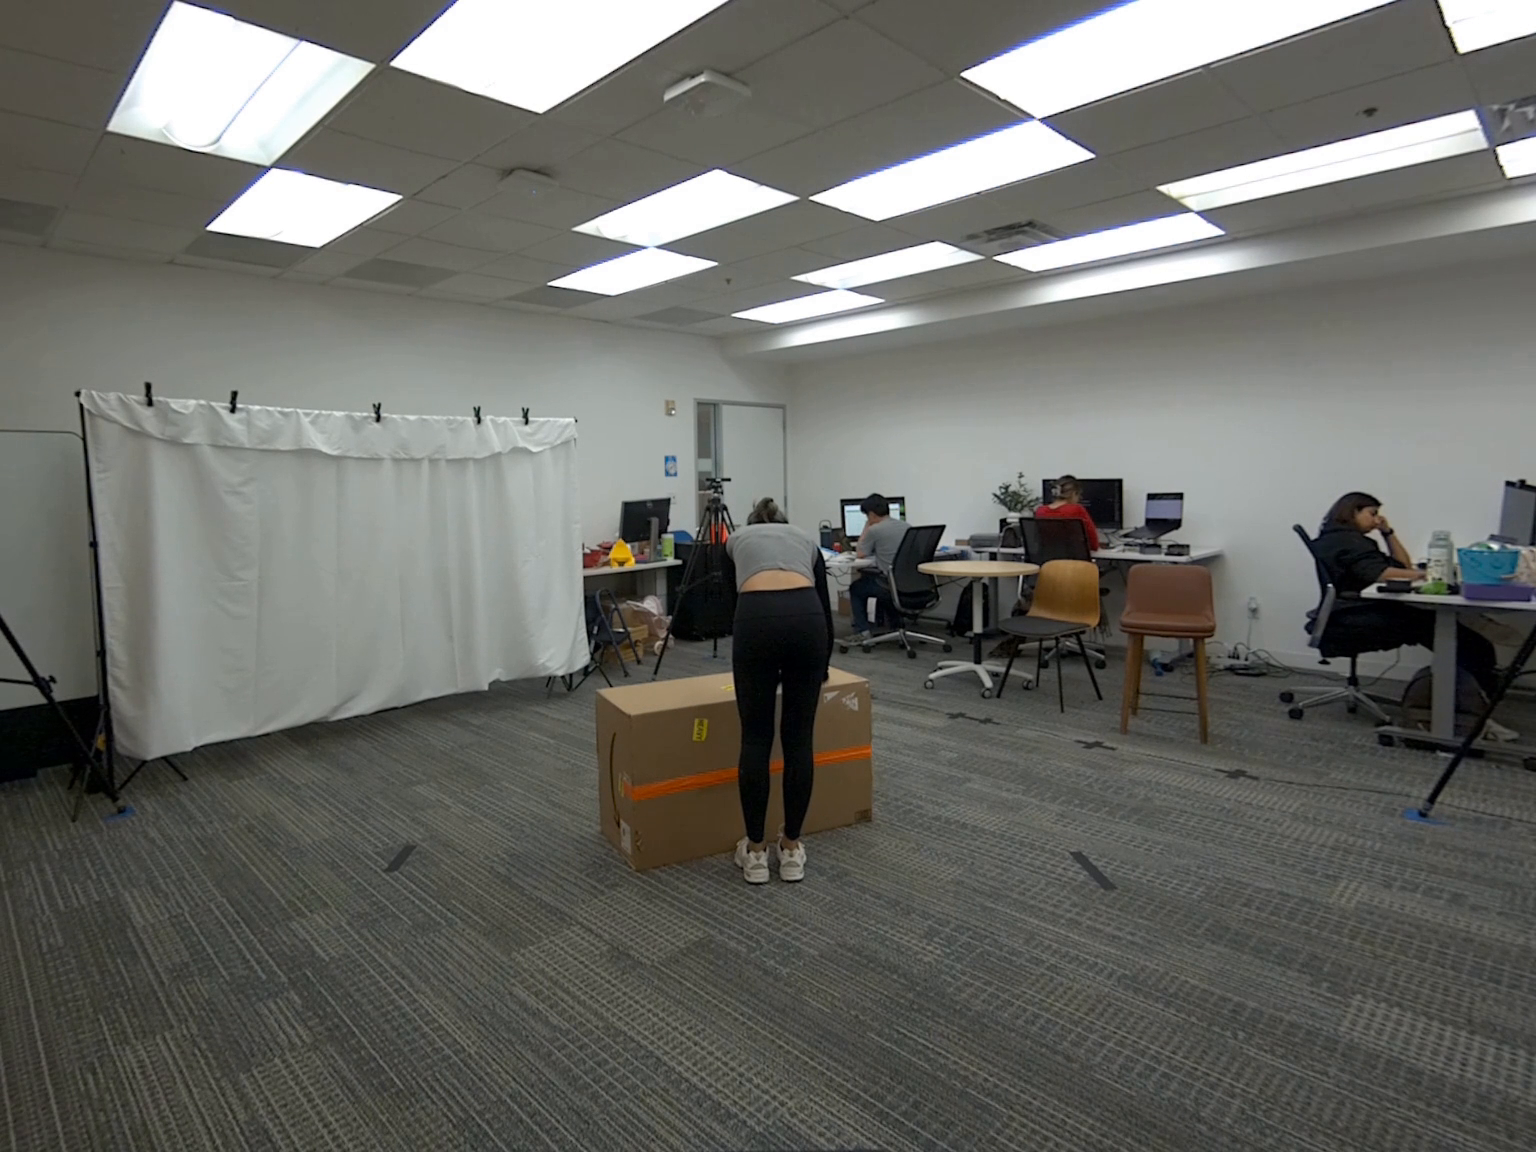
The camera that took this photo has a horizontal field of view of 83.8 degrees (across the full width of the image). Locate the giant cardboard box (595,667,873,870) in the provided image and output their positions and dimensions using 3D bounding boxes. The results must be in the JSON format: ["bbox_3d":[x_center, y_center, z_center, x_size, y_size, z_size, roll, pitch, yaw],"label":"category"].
[{"bbox_3d":[-0.131,0.718,3.429,1.004,0.575,0.437,-4,5,-25],"label":"giant cardboard box"}]
